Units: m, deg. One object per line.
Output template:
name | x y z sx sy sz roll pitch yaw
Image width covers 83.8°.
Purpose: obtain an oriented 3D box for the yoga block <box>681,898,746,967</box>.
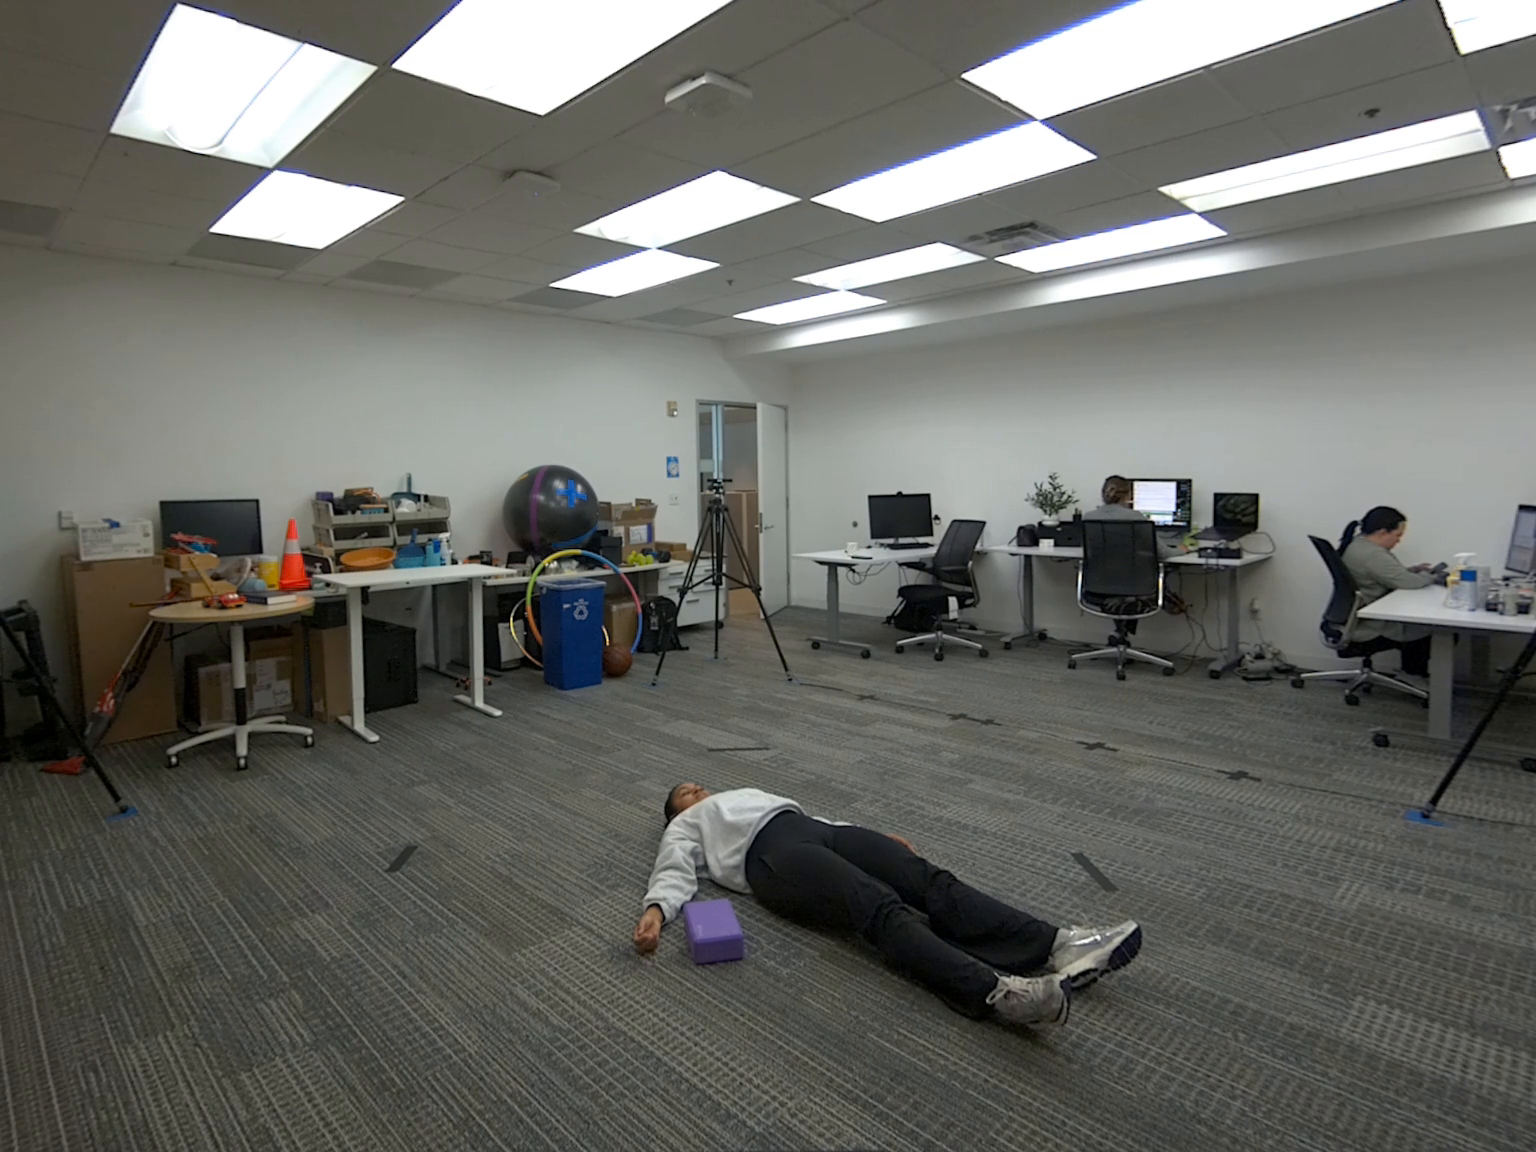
yoga block | -0.160 1.072 2.576 0.147 0.076 0.233 -2 6 -12
